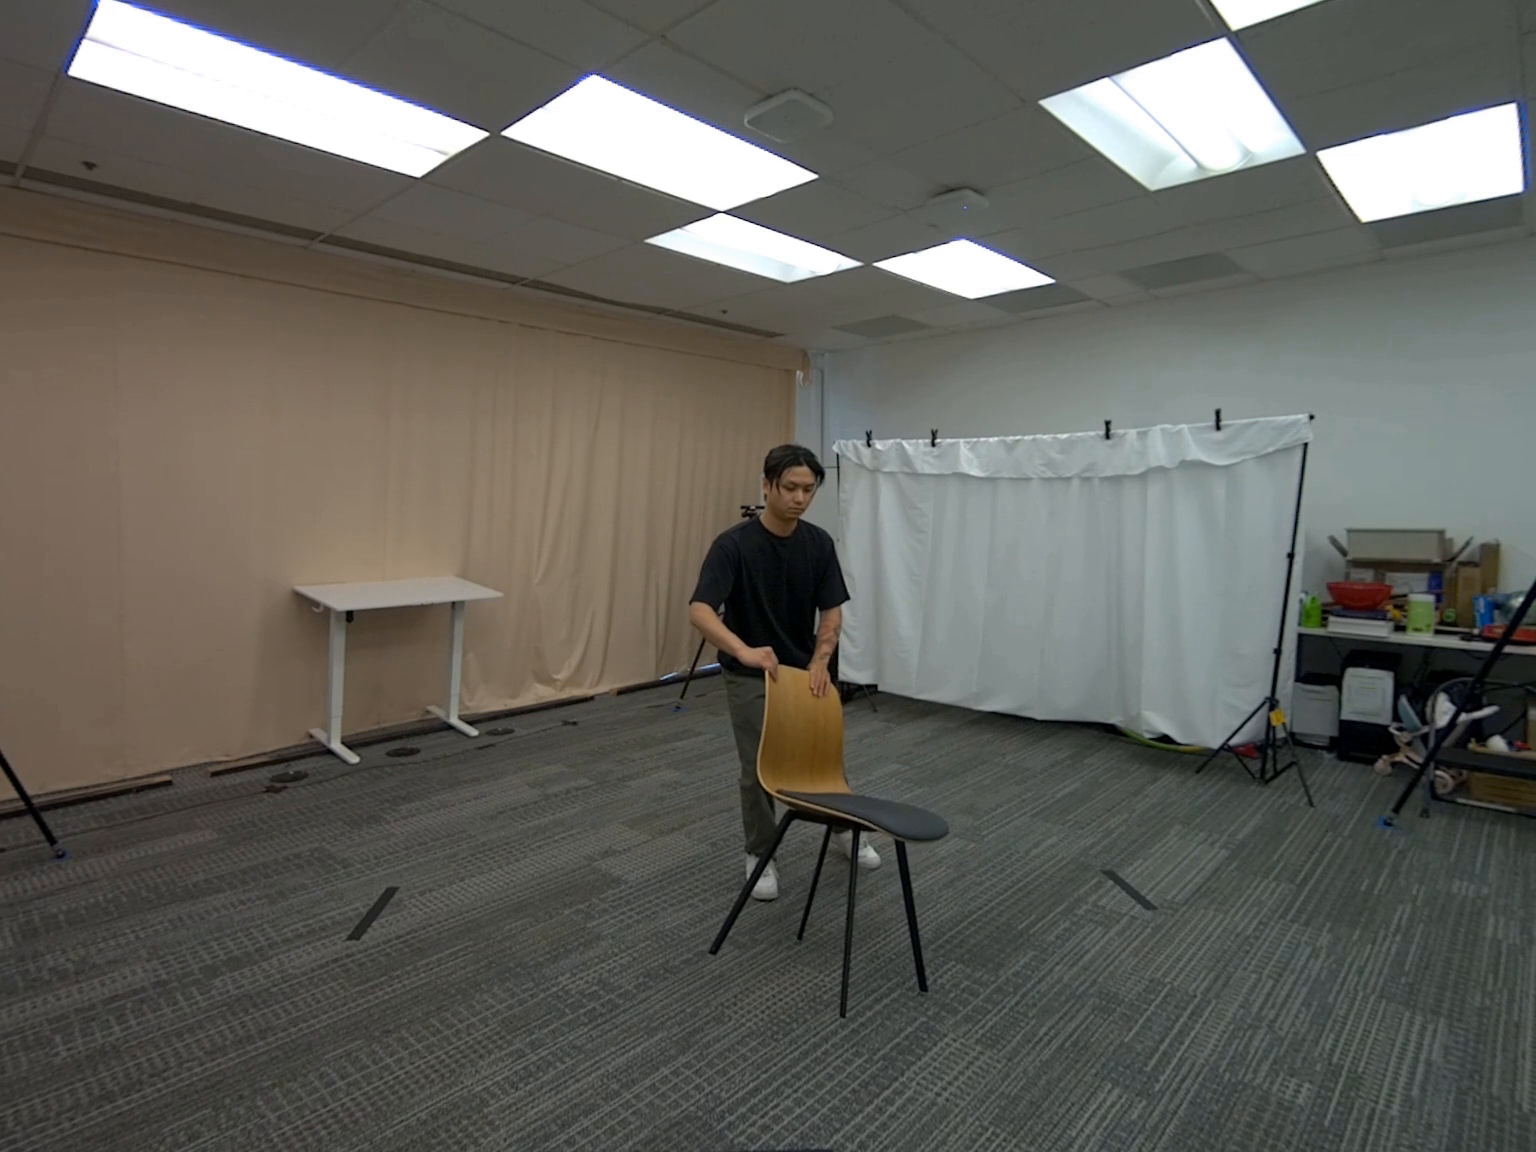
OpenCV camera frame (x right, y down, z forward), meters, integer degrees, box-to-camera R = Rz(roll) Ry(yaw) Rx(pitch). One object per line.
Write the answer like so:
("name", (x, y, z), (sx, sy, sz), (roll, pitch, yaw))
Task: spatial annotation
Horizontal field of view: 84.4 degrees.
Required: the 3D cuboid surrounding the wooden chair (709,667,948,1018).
("wooden chair", (0.228, 0.717, 2.449), (0.539, 0.882, 0.461), (-3, -15, 39))
